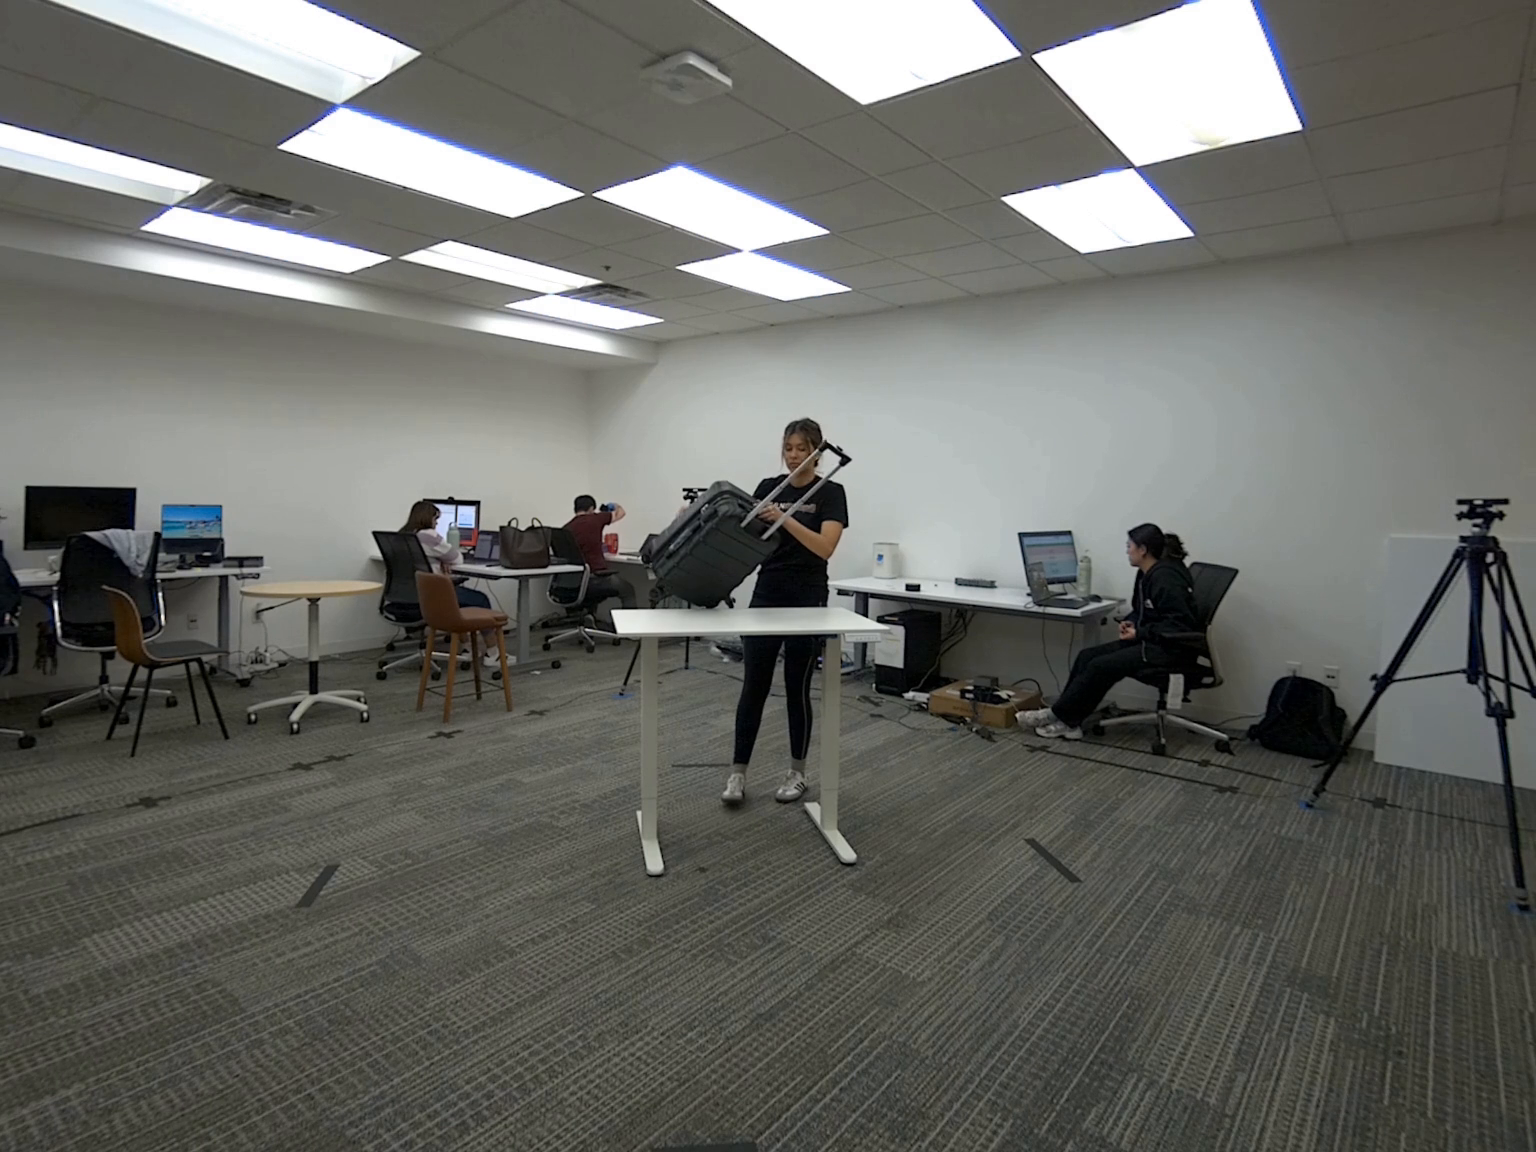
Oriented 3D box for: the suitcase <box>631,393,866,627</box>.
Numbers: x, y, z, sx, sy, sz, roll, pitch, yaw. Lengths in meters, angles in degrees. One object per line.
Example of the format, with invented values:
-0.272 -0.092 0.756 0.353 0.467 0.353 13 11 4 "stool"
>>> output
-0.106 -0.254 3.536 0.369 0.980 0.267 29 27 -36 "suitcase"
